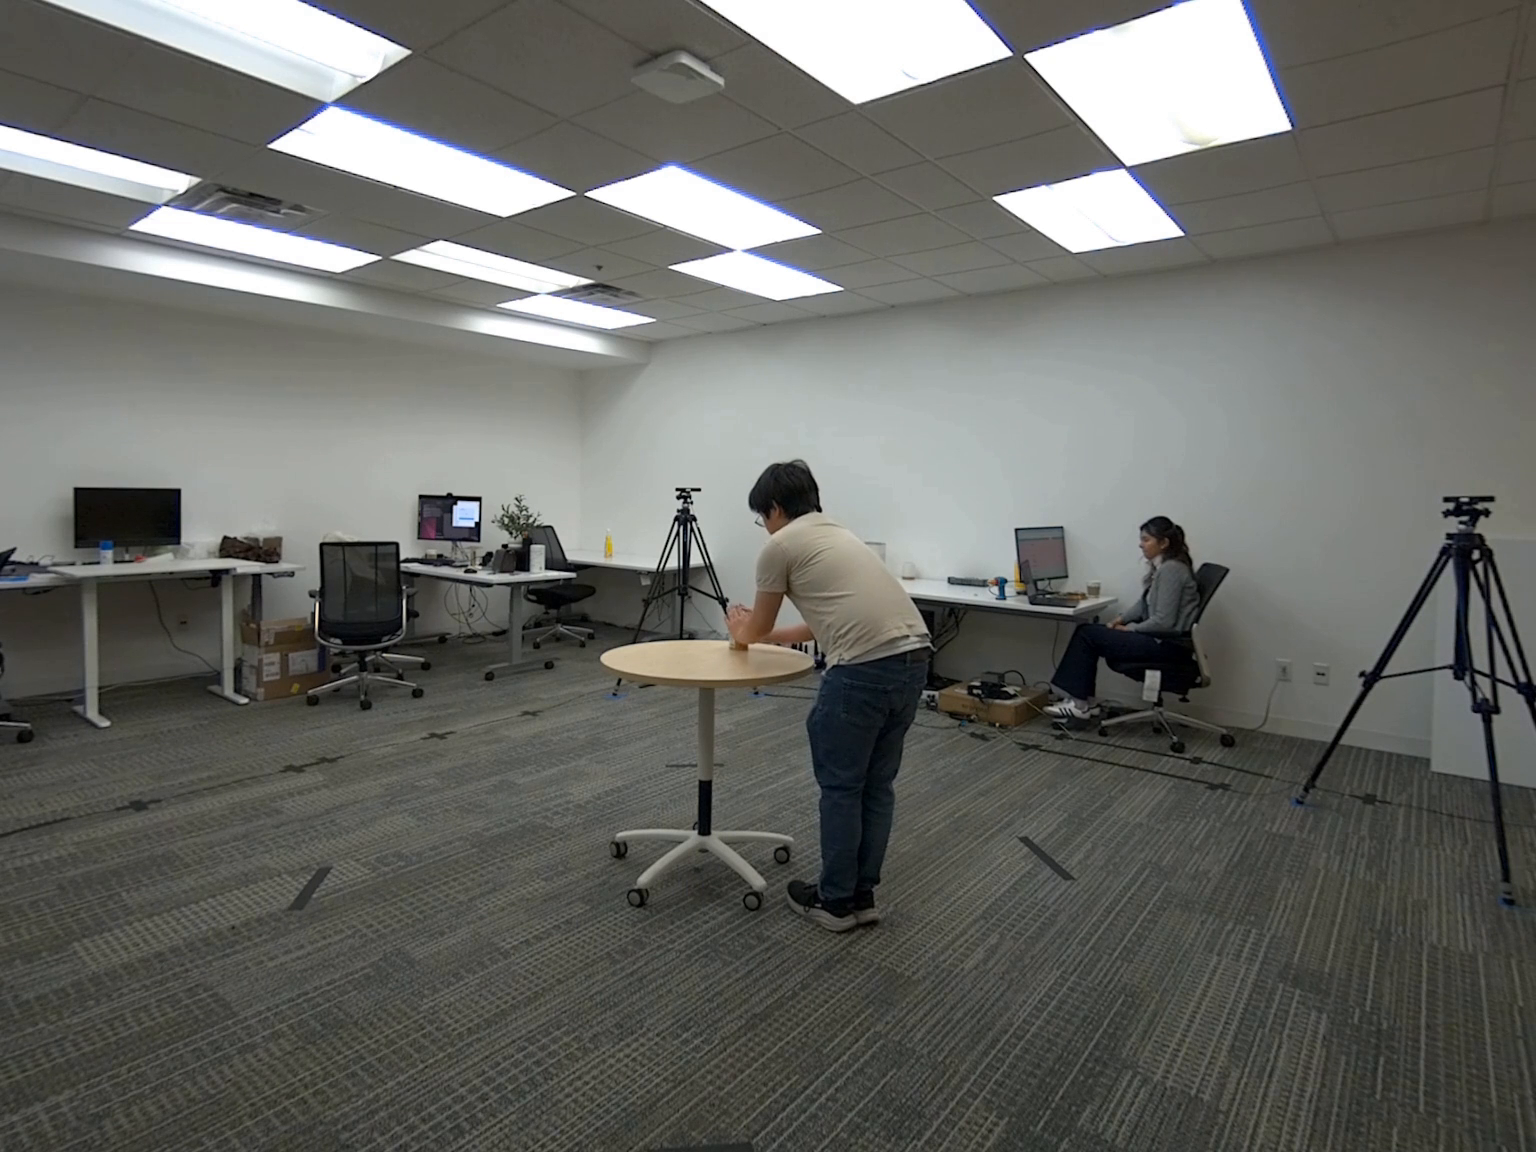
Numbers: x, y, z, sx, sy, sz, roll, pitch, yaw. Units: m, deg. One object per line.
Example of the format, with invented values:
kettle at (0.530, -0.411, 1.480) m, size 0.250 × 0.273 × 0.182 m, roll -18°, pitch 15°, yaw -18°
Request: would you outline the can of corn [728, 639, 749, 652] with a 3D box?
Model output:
can of corn at (-0.117, 0.222, 3.243) m, size 0.074 × 0.110 × 0.074 m, roll 2°, pitch 5°, yaw -2°
